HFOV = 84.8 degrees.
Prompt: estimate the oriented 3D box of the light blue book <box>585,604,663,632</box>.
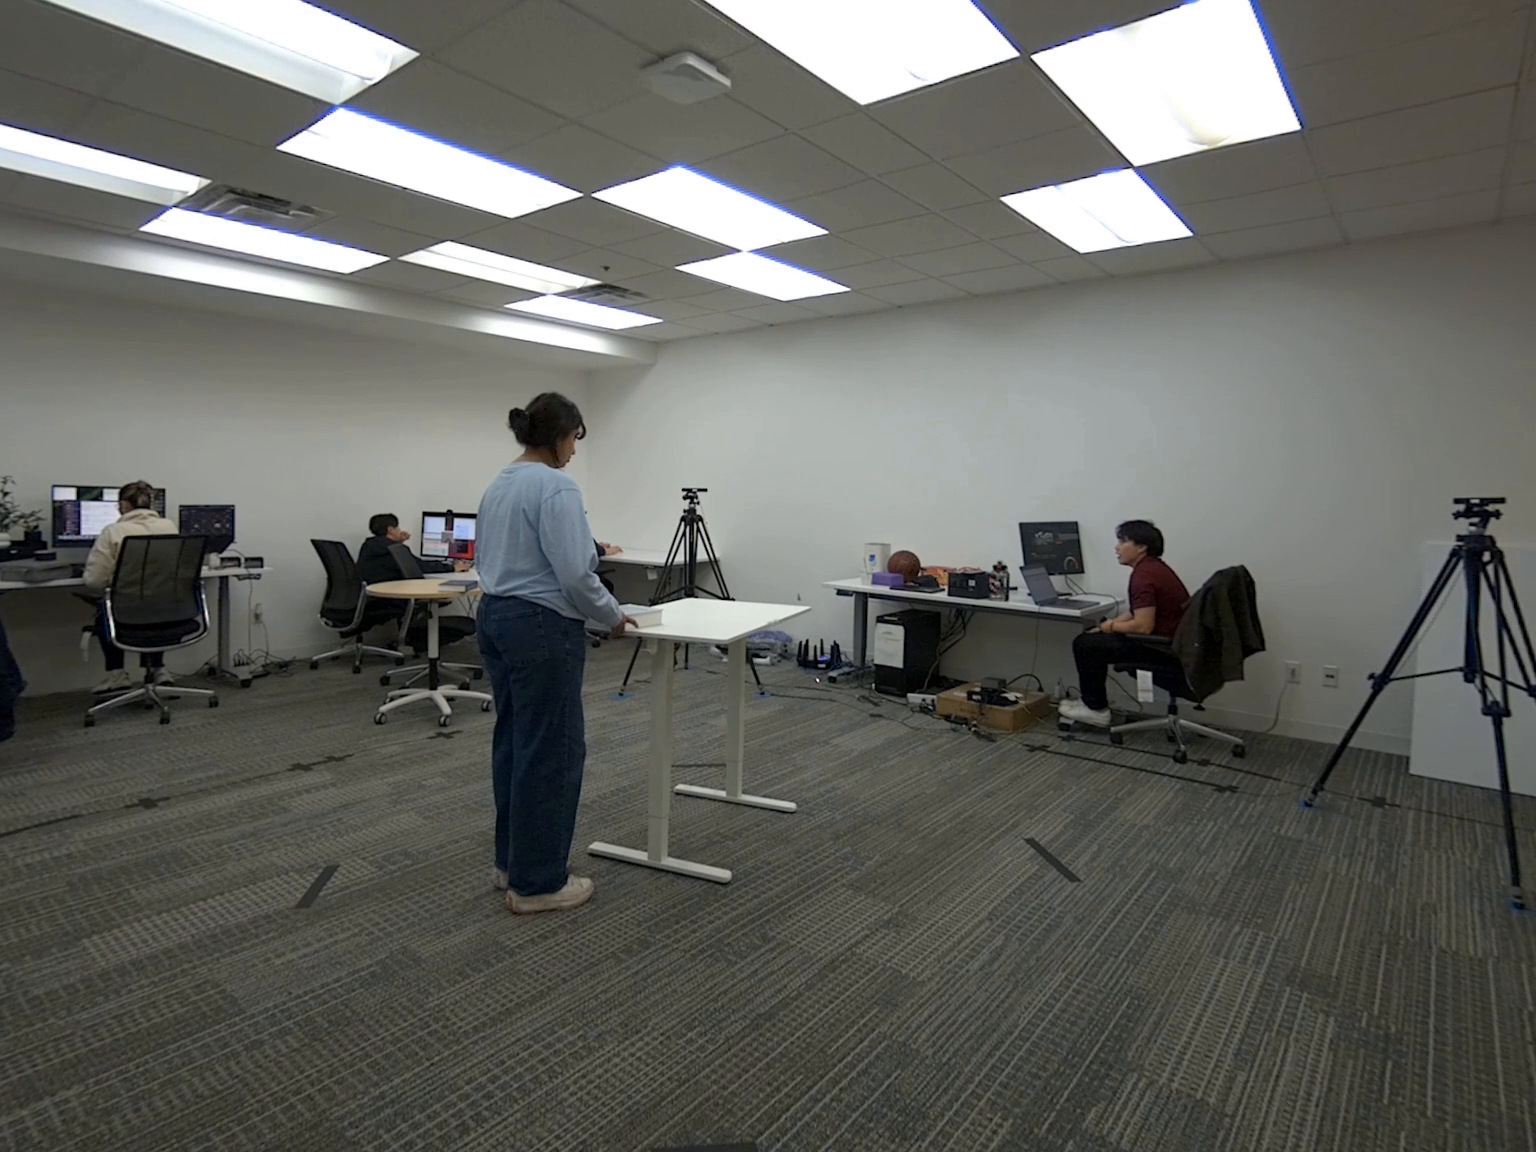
[{"bbox_3d":[-0.536,0.154,3.116,0.197,0.059,0.254,4,8,34],"label":"light blue book"}]
